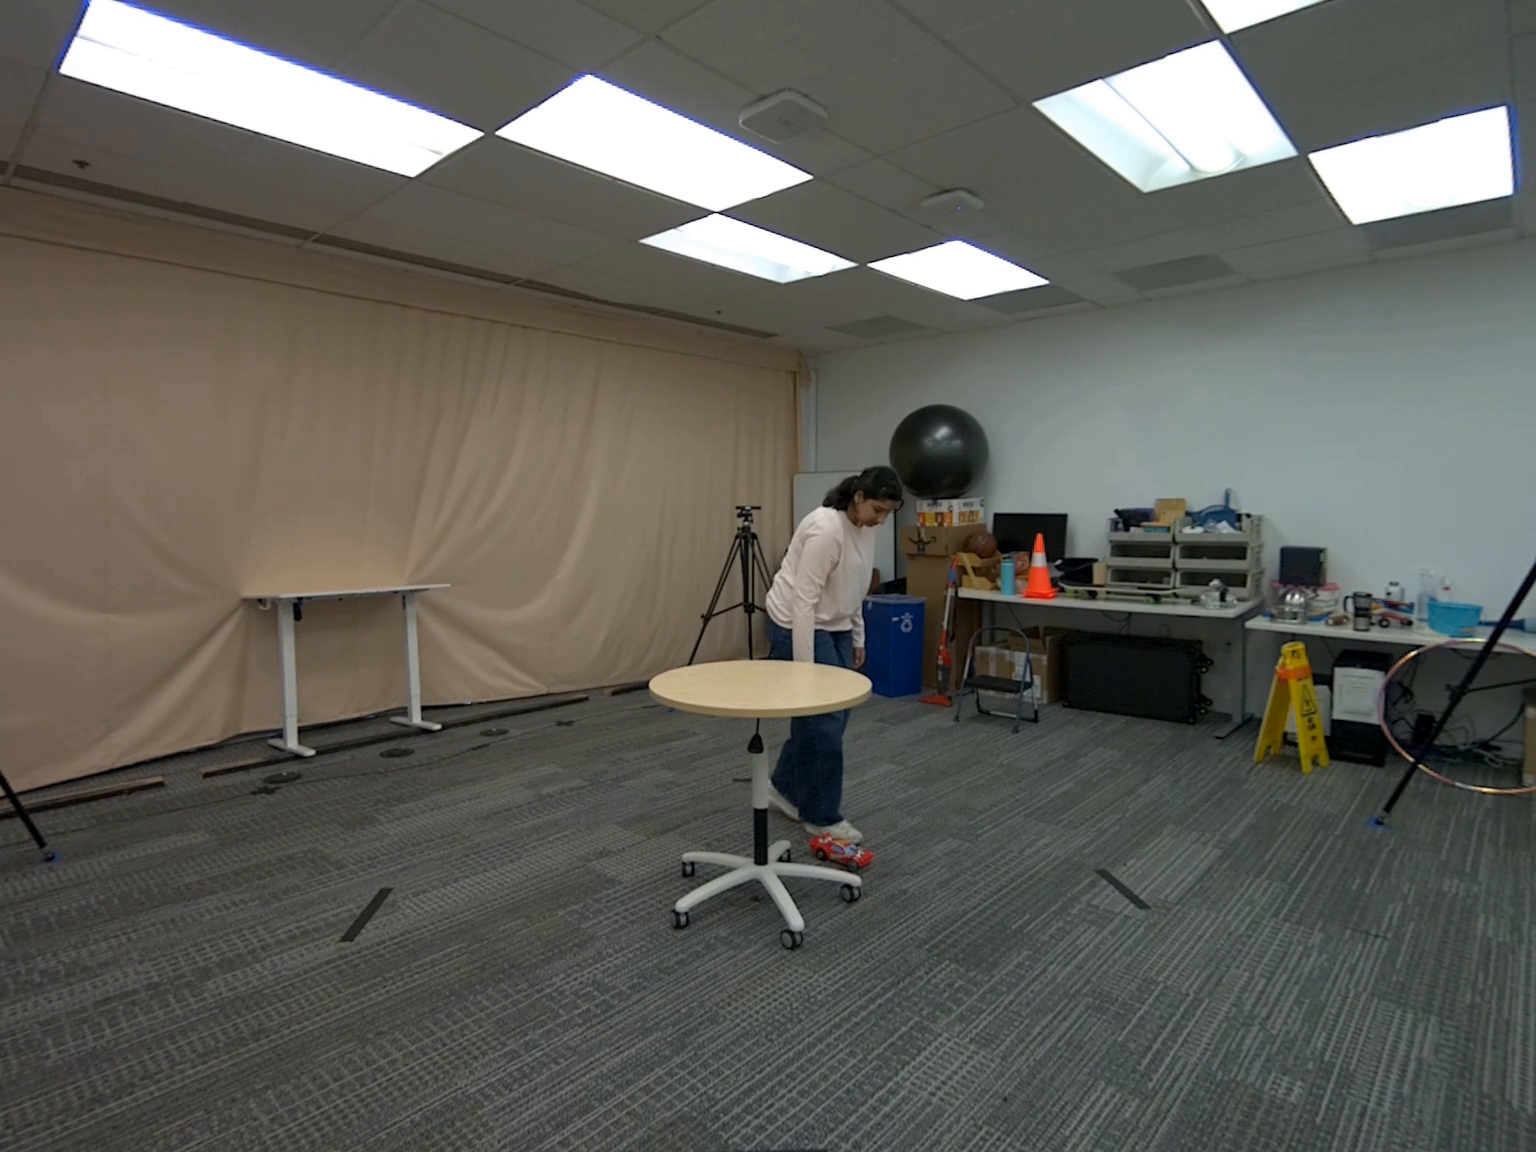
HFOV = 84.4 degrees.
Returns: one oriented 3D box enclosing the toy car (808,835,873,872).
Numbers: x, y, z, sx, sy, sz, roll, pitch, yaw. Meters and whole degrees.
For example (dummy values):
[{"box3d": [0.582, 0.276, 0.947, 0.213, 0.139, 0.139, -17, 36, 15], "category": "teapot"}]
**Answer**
[{"box3d": [0.285, 1.078, 3.313, 0.264, 0.083, 0.126, 16, 15, 39], "category": "toy car"}]
